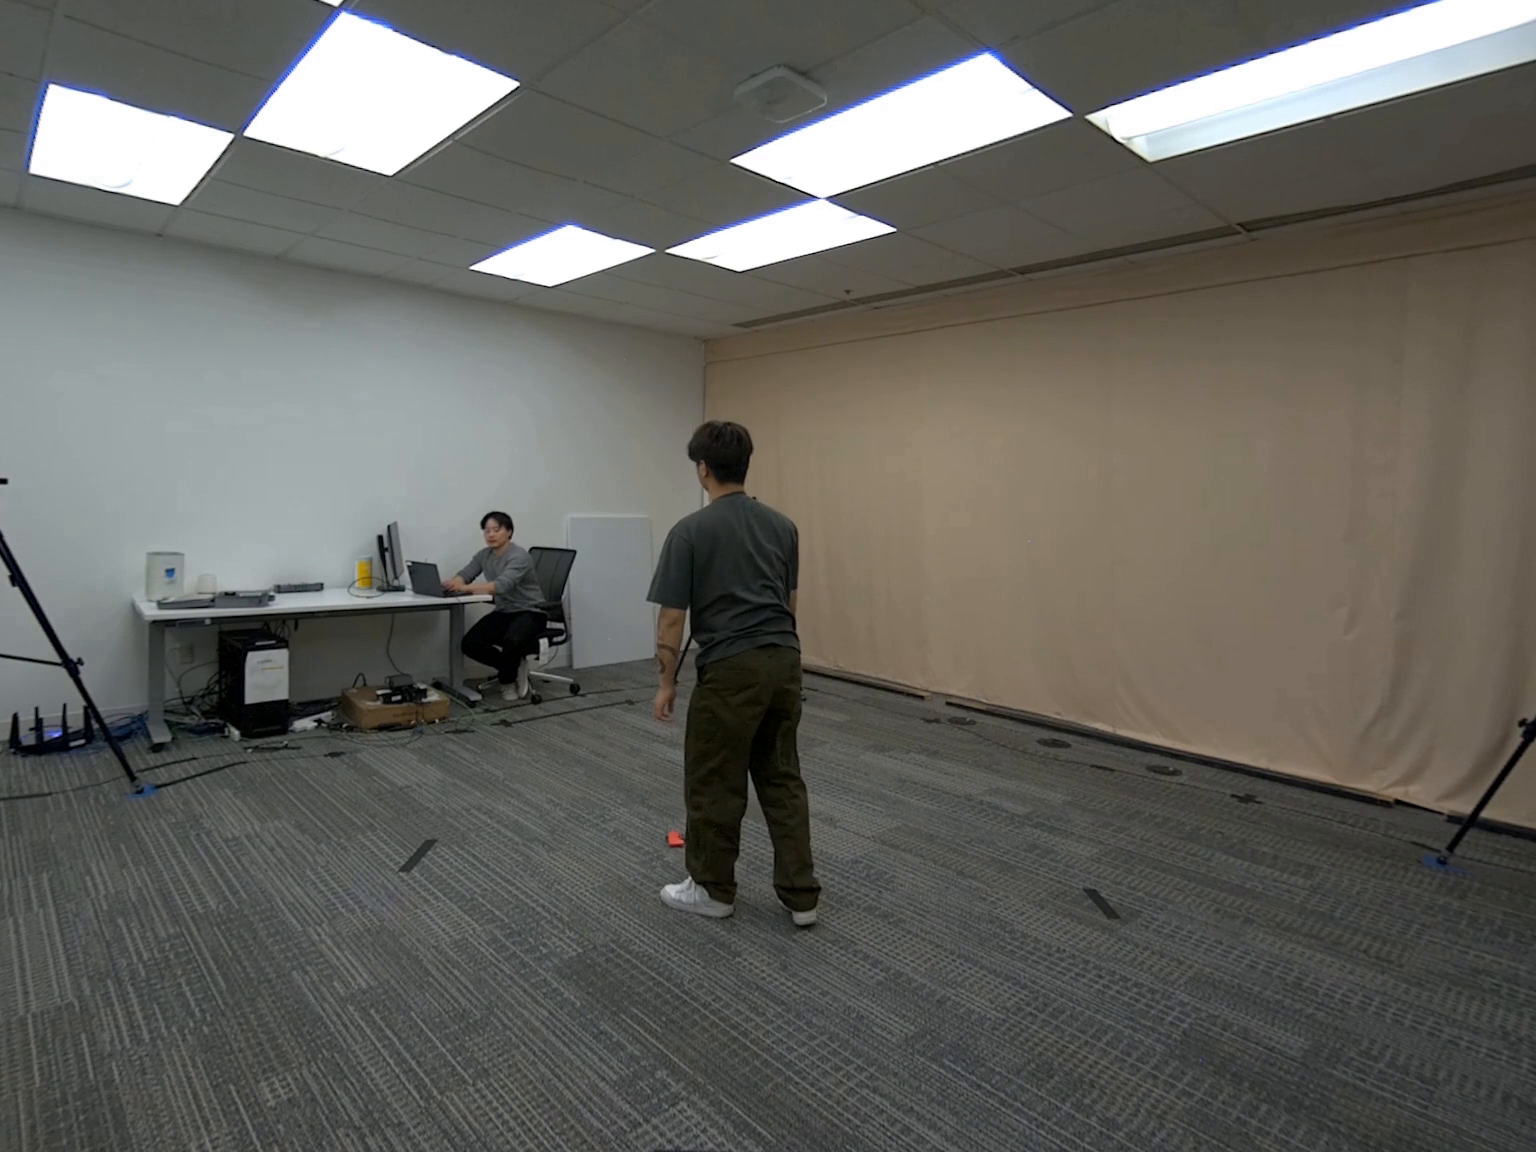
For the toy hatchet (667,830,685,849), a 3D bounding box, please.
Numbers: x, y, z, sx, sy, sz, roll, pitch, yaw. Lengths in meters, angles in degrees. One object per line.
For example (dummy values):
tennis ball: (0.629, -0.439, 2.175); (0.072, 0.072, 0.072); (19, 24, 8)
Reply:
toy hatchet: (-0.290, 1.068, 3.367); (0.275, 0.029, 0.129); (4, 5, 21)
